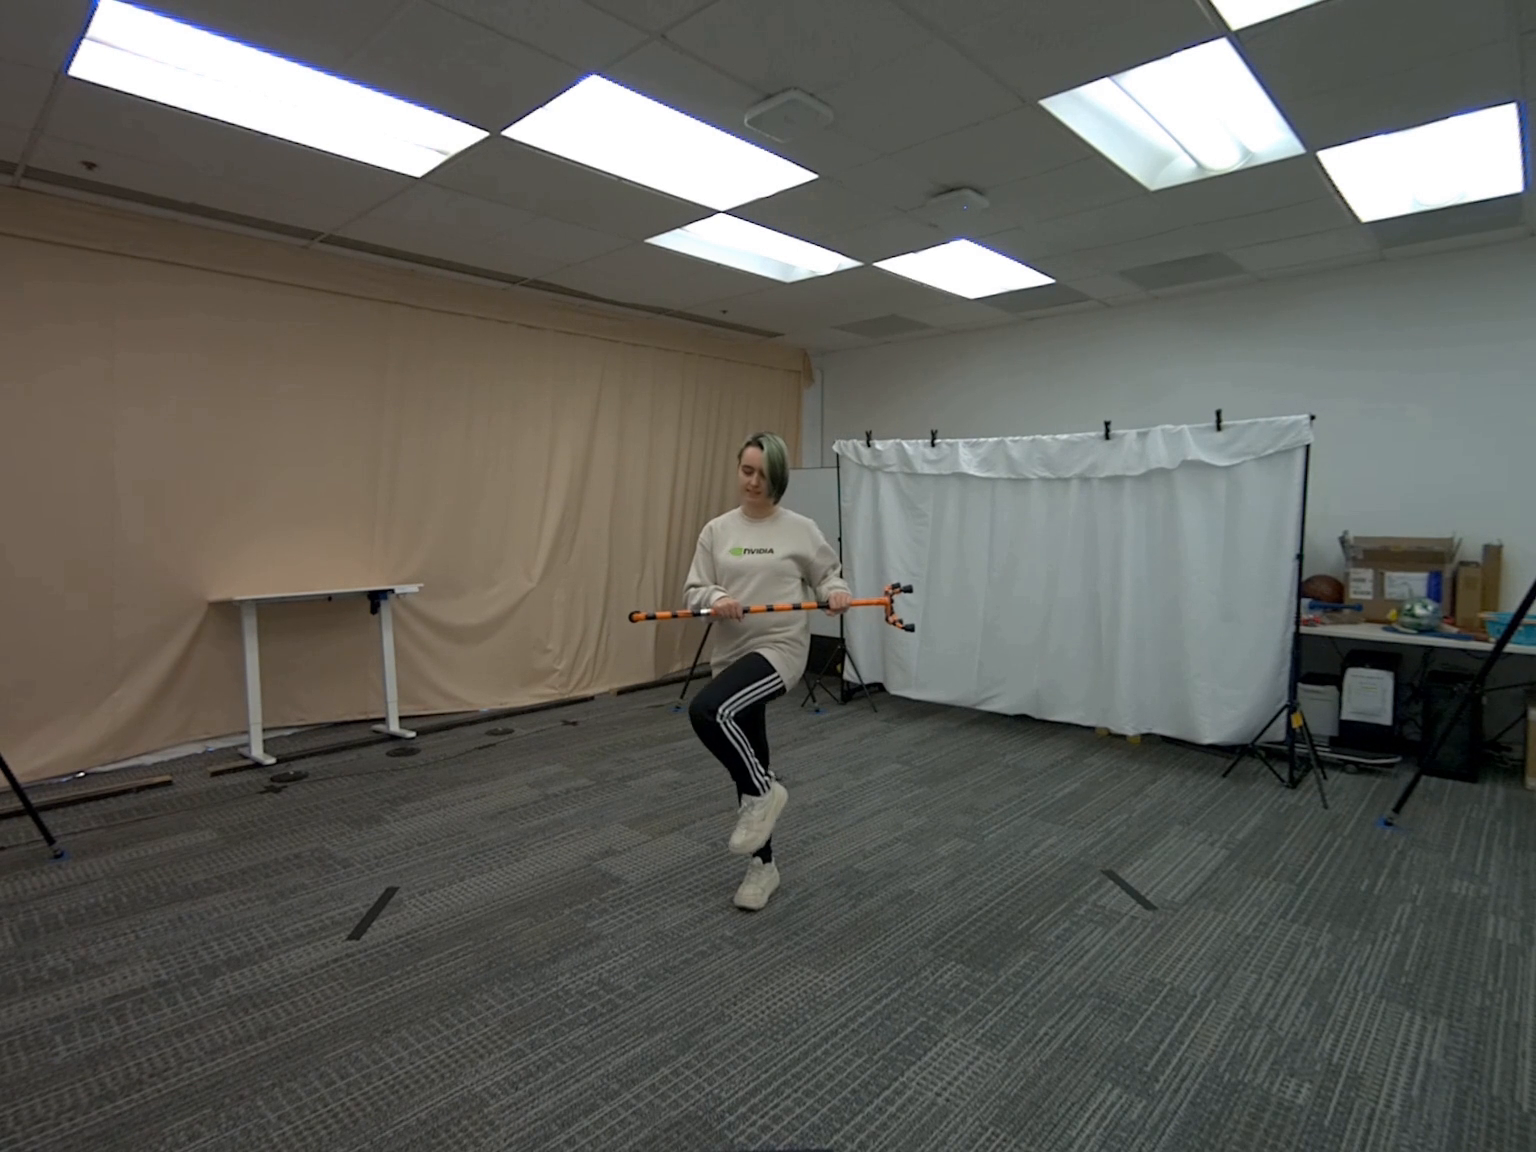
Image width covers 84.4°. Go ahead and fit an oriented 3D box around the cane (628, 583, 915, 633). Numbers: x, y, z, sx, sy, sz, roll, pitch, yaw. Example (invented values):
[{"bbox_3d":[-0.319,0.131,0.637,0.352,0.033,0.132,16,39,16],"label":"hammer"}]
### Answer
[{"bbox_3d":[0.001,0.127,2.725,0.907,0.151,0.207,-3,2,-1],"label":"cane"}]
